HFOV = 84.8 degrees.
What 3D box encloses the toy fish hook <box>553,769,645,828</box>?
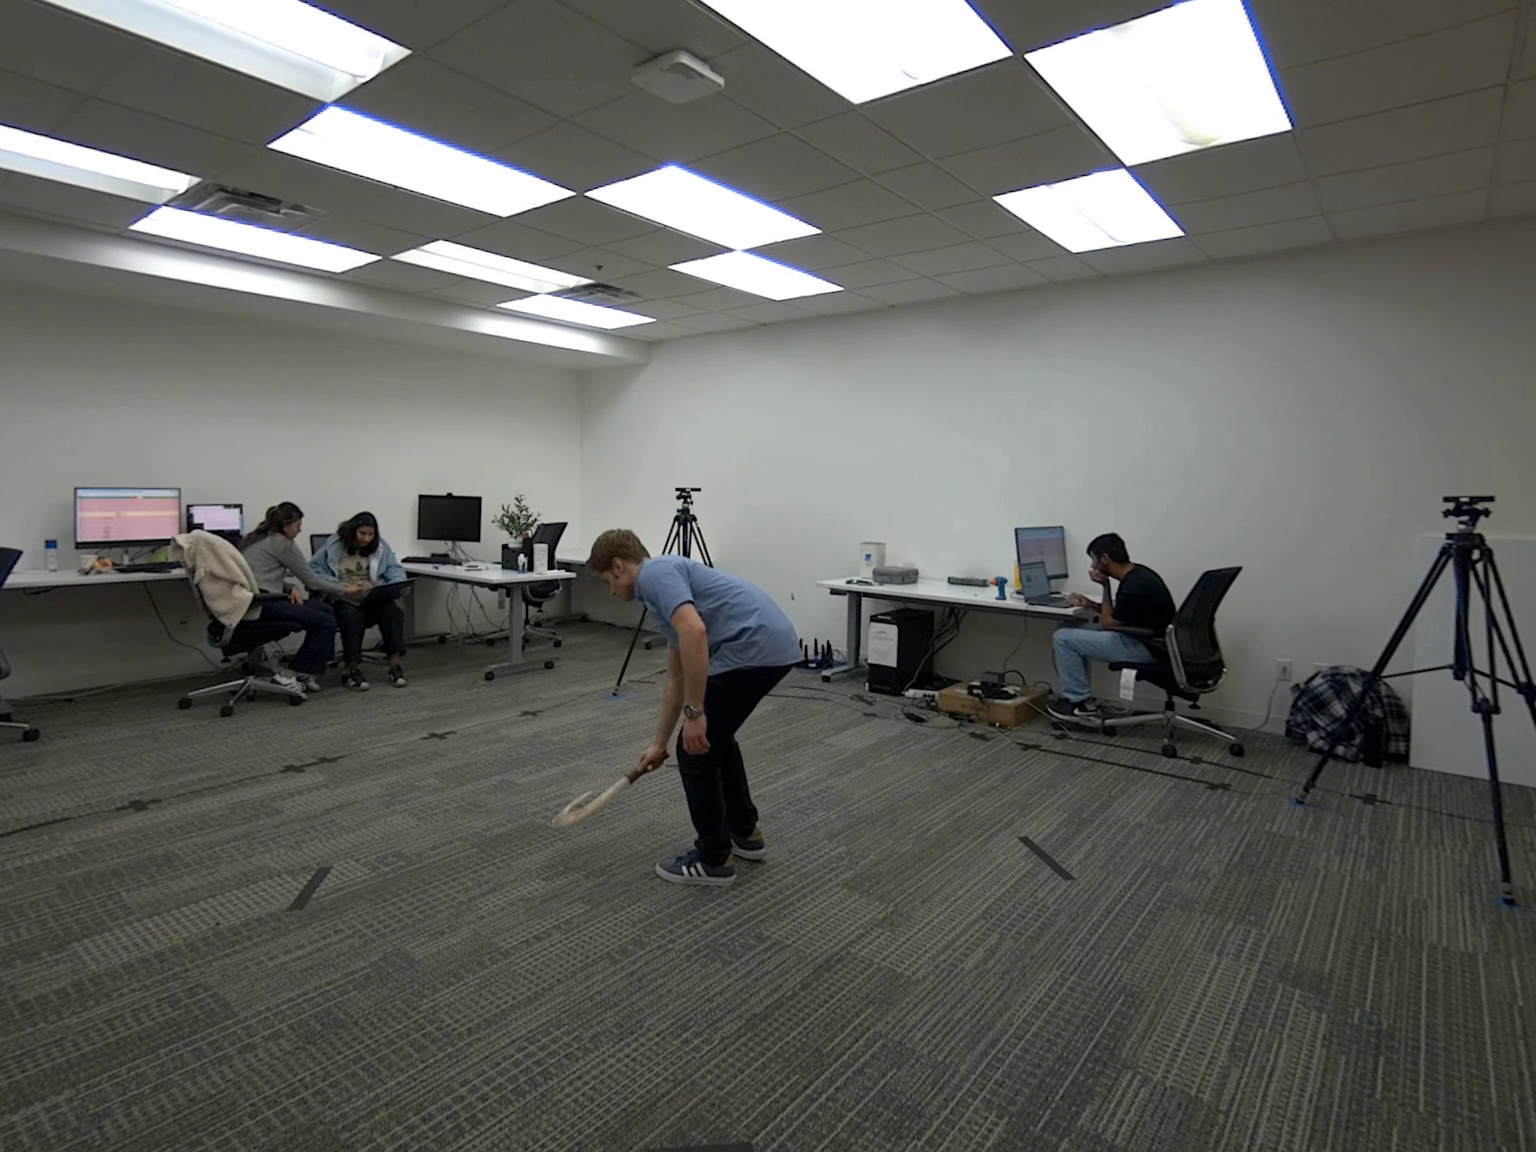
[{"bbox_3d":[-0.615,0.810,3.307,0.501,0.047,0.230,-30,14,-26],"label":"toy fish hook"}]
